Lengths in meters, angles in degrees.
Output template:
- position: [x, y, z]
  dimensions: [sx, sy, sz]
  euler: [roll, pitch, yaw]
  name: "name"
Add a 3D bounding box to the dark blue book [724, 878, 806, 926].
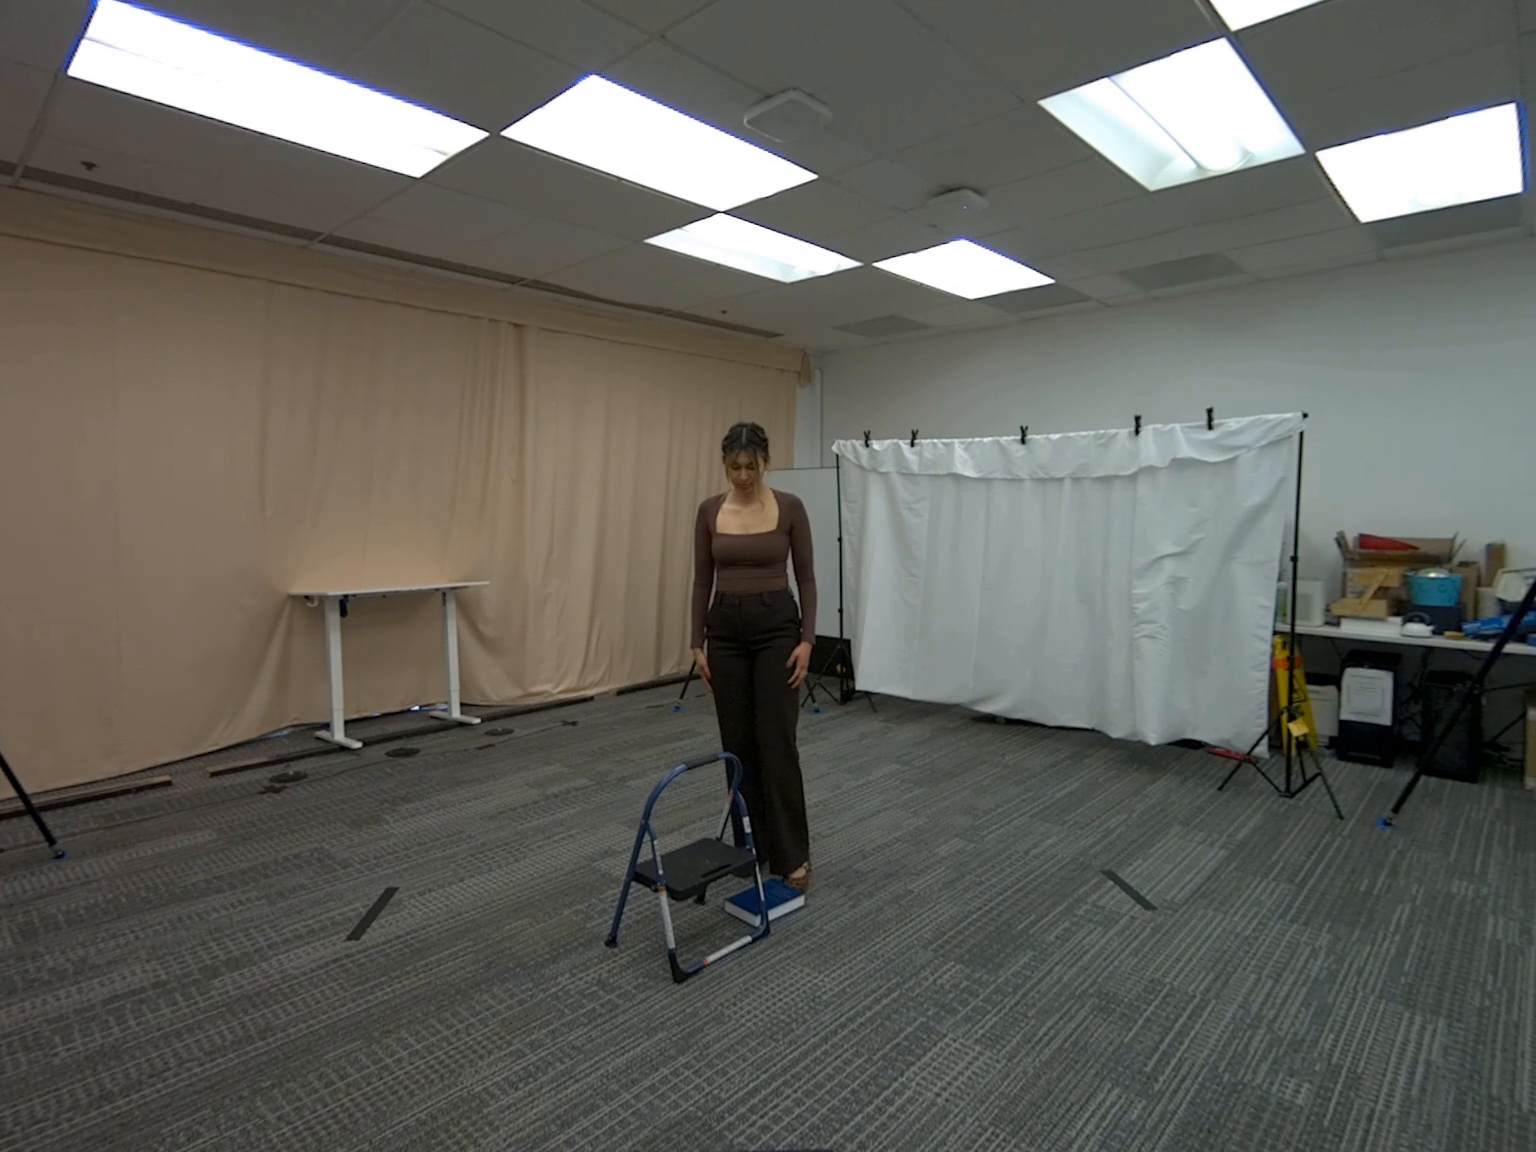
- position: [-0.010, 1.123, 2.913]
  dimensions: [0.237, 0.045, 0.169]
  euler: [-4, 6, -43]
  name: "dark blue book"
